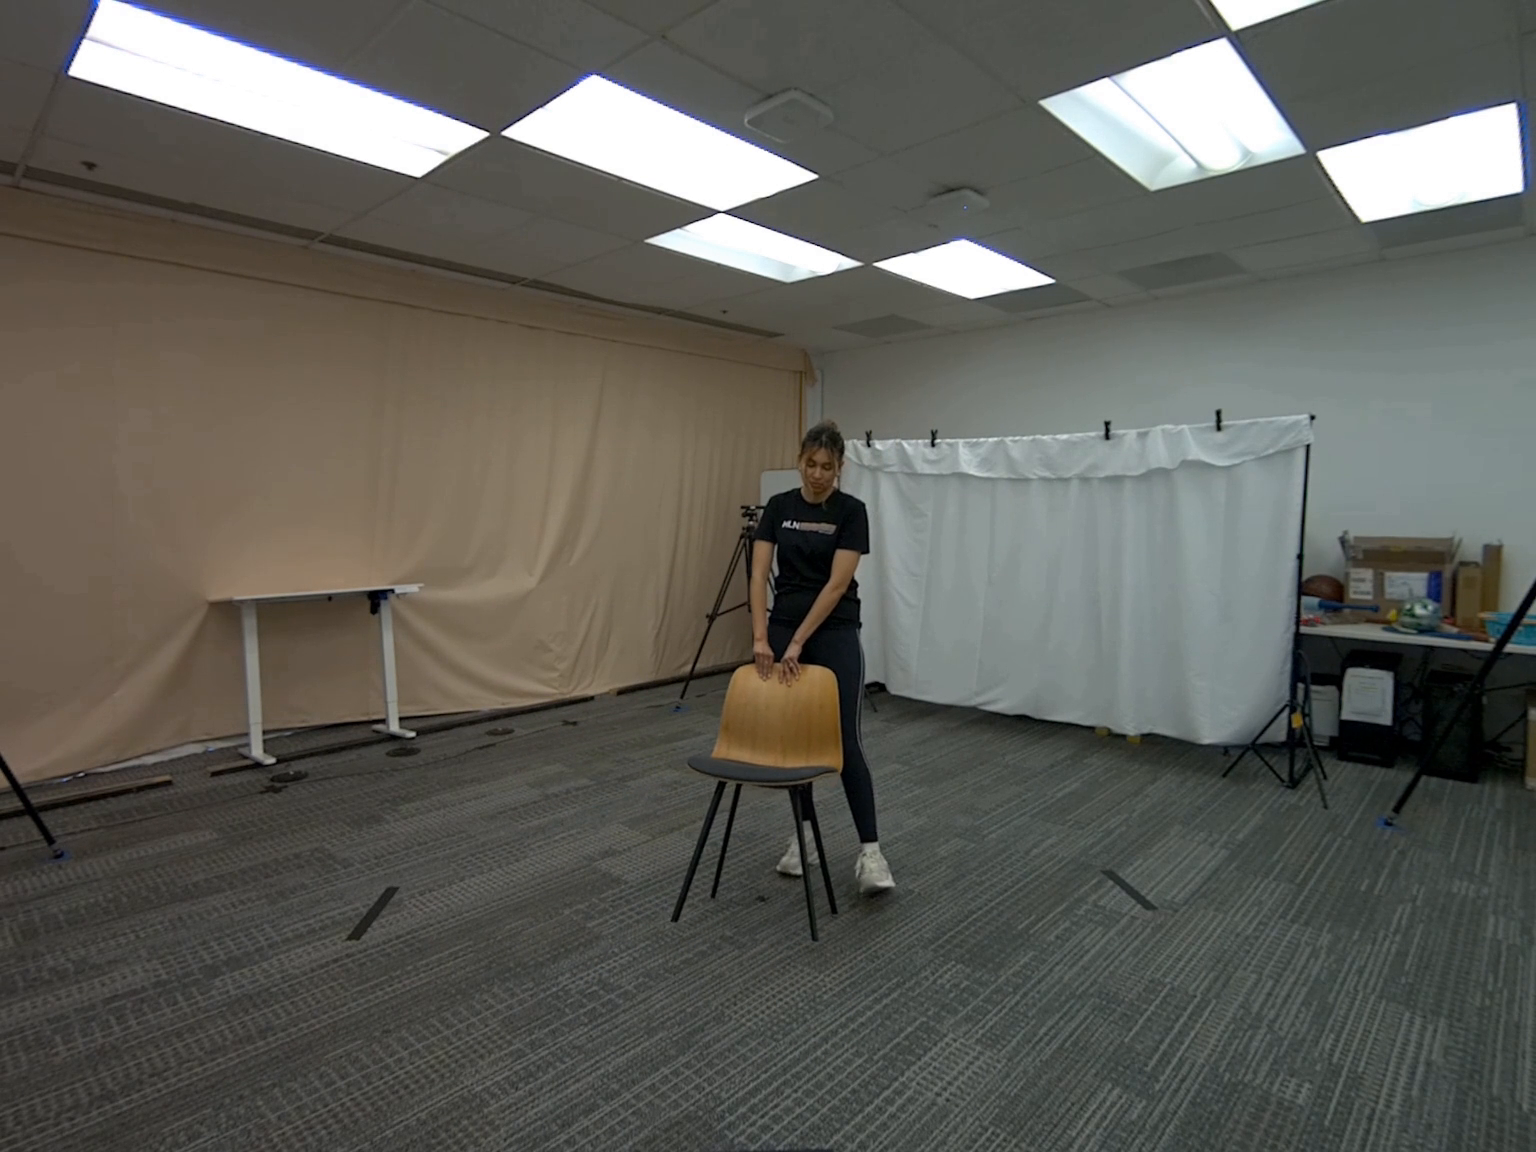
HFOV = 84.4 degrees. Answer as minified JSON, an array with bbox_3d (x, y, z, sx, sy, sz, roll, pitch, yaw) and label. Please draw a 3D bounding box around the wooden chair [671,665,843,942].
[{"bbox_3d":[-0.008,0.691,2.787,0.486,0.884,0.510,0,-16,15],"label":"wooden chair"}]
